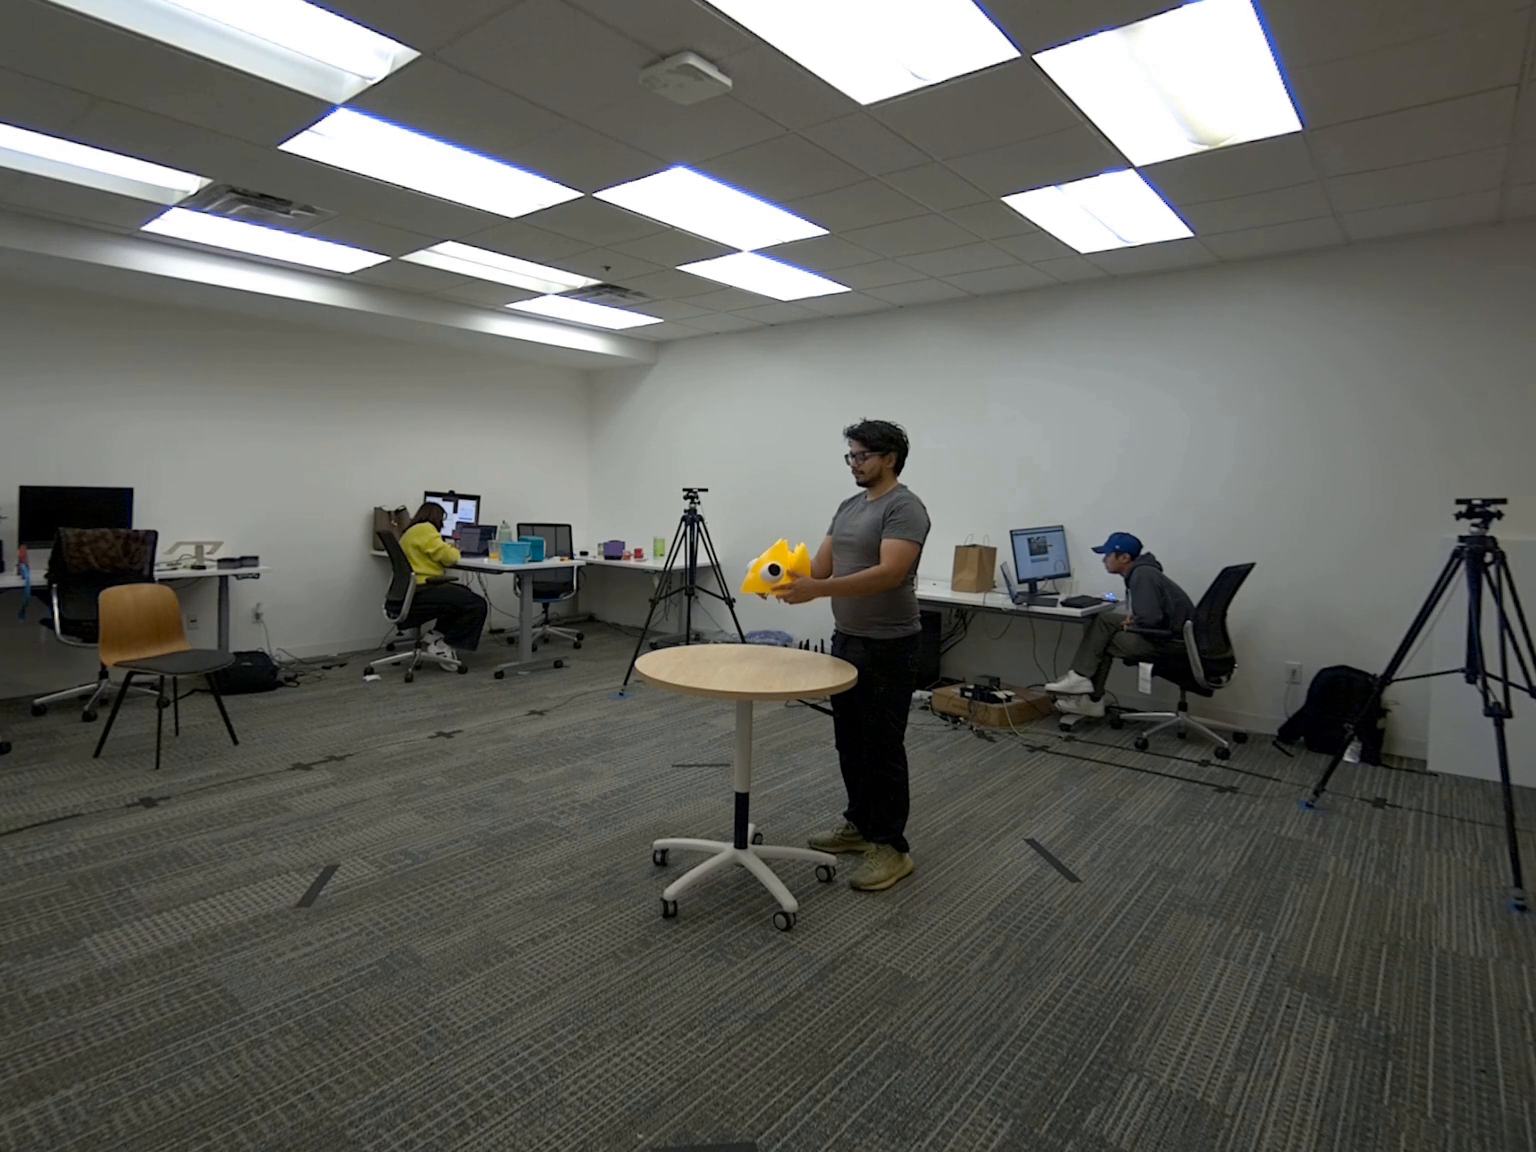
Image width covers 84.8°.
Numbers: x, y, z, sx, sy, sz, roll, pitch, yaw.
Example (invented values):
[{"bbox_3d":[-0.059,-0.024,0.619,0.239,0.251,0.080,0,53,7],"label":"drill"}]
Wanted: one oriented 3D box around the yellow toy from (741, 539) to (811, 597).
[{"bbox_3d":[-0.012,-0.023,3.001,0.225,0.191,0.212,-10,13,-31],"label":"yellow toy"}]
